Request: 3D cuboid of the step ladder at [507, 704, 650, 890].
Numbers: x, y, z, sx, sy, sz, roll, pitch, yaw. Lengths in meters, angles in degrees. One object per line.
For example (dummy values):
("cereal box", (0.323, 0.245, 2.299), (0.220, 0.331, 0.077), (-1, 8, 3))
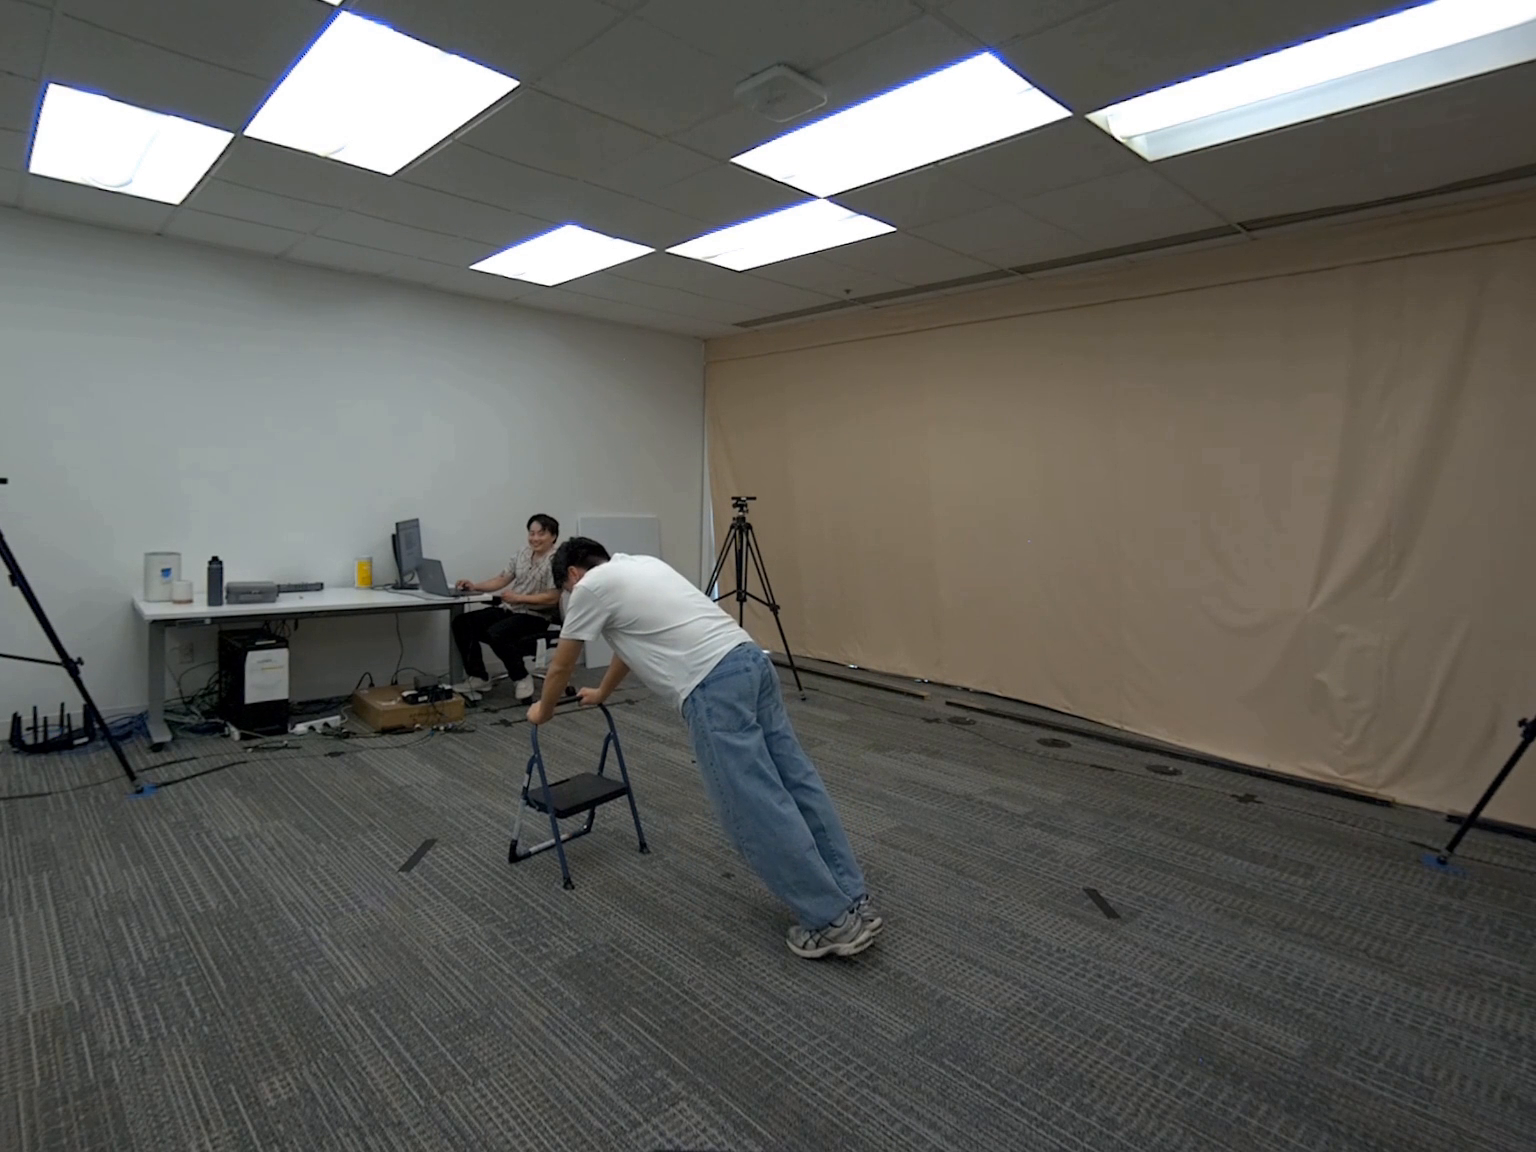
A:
("step ladder", (-0.726, 0.780, 3.223), (0.357, 0.605, 0.421), (3, 4, 34))
